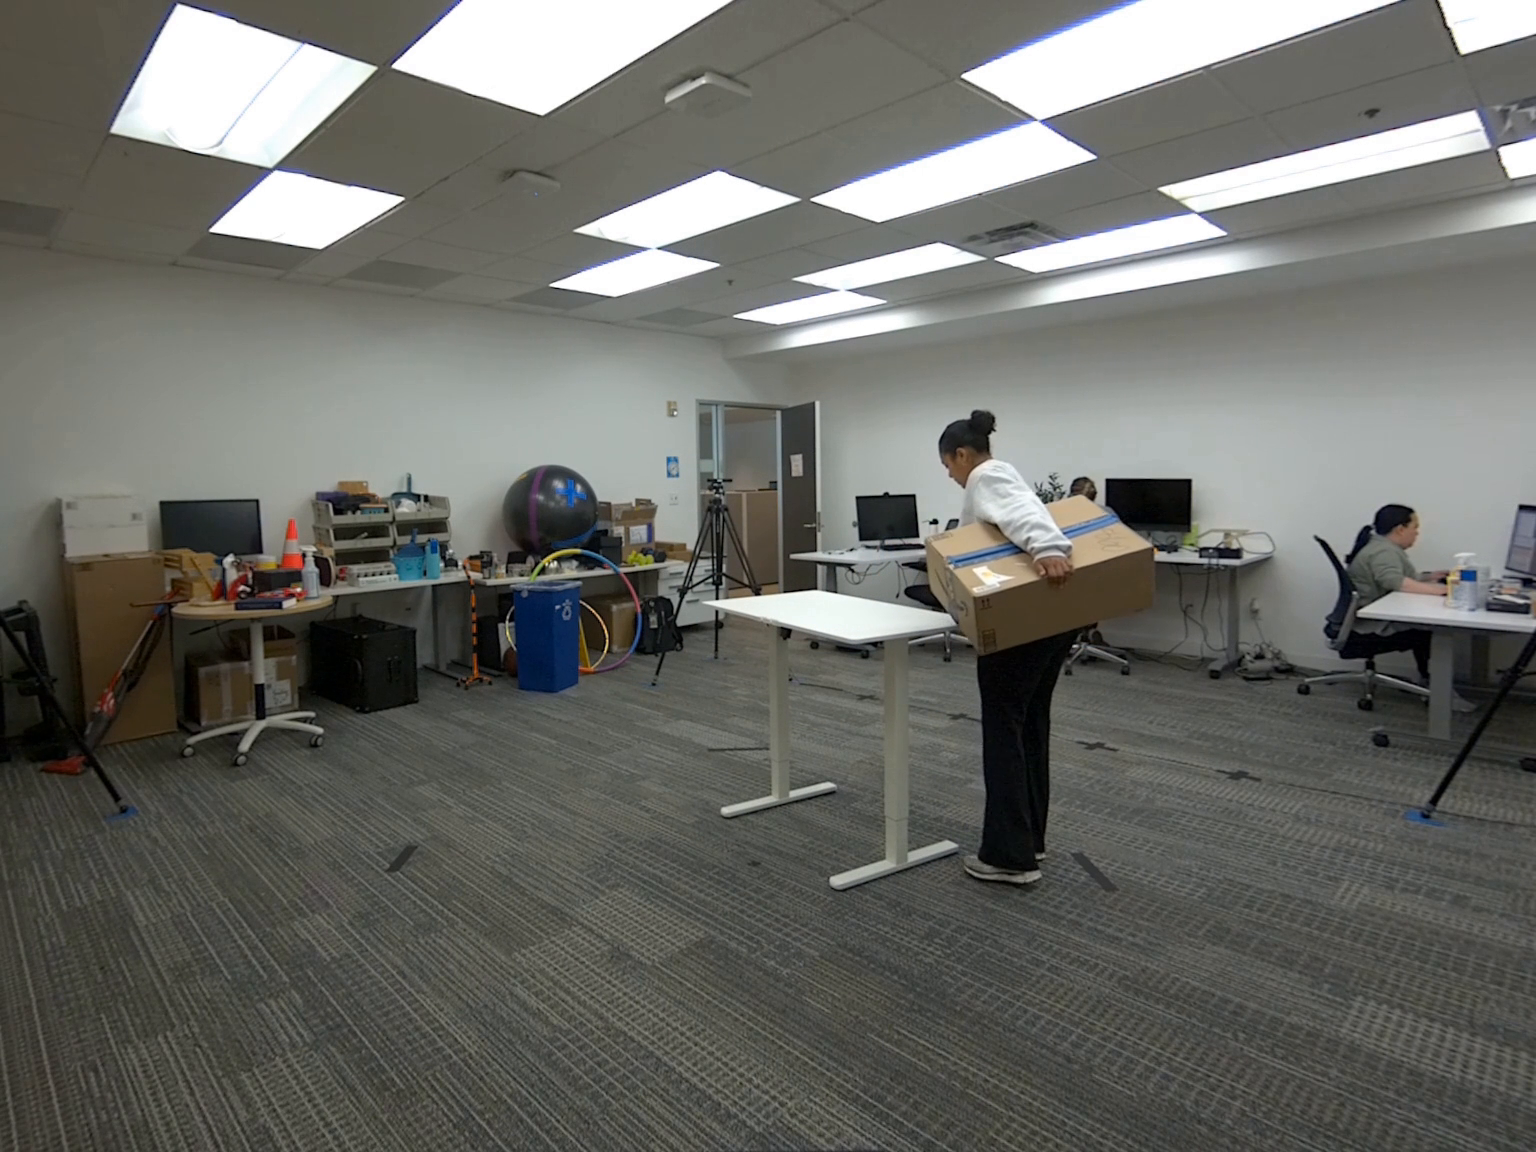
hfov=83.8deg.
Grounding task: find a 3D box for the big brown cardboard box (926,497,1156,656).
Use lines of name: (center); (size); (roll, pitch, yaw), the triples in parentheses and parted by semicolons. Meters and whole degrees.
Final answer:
big brown cardboard box: (0.848, -0.010, 2.723); (0.588, 0.227, 0.429); (-14, 28, -3)
